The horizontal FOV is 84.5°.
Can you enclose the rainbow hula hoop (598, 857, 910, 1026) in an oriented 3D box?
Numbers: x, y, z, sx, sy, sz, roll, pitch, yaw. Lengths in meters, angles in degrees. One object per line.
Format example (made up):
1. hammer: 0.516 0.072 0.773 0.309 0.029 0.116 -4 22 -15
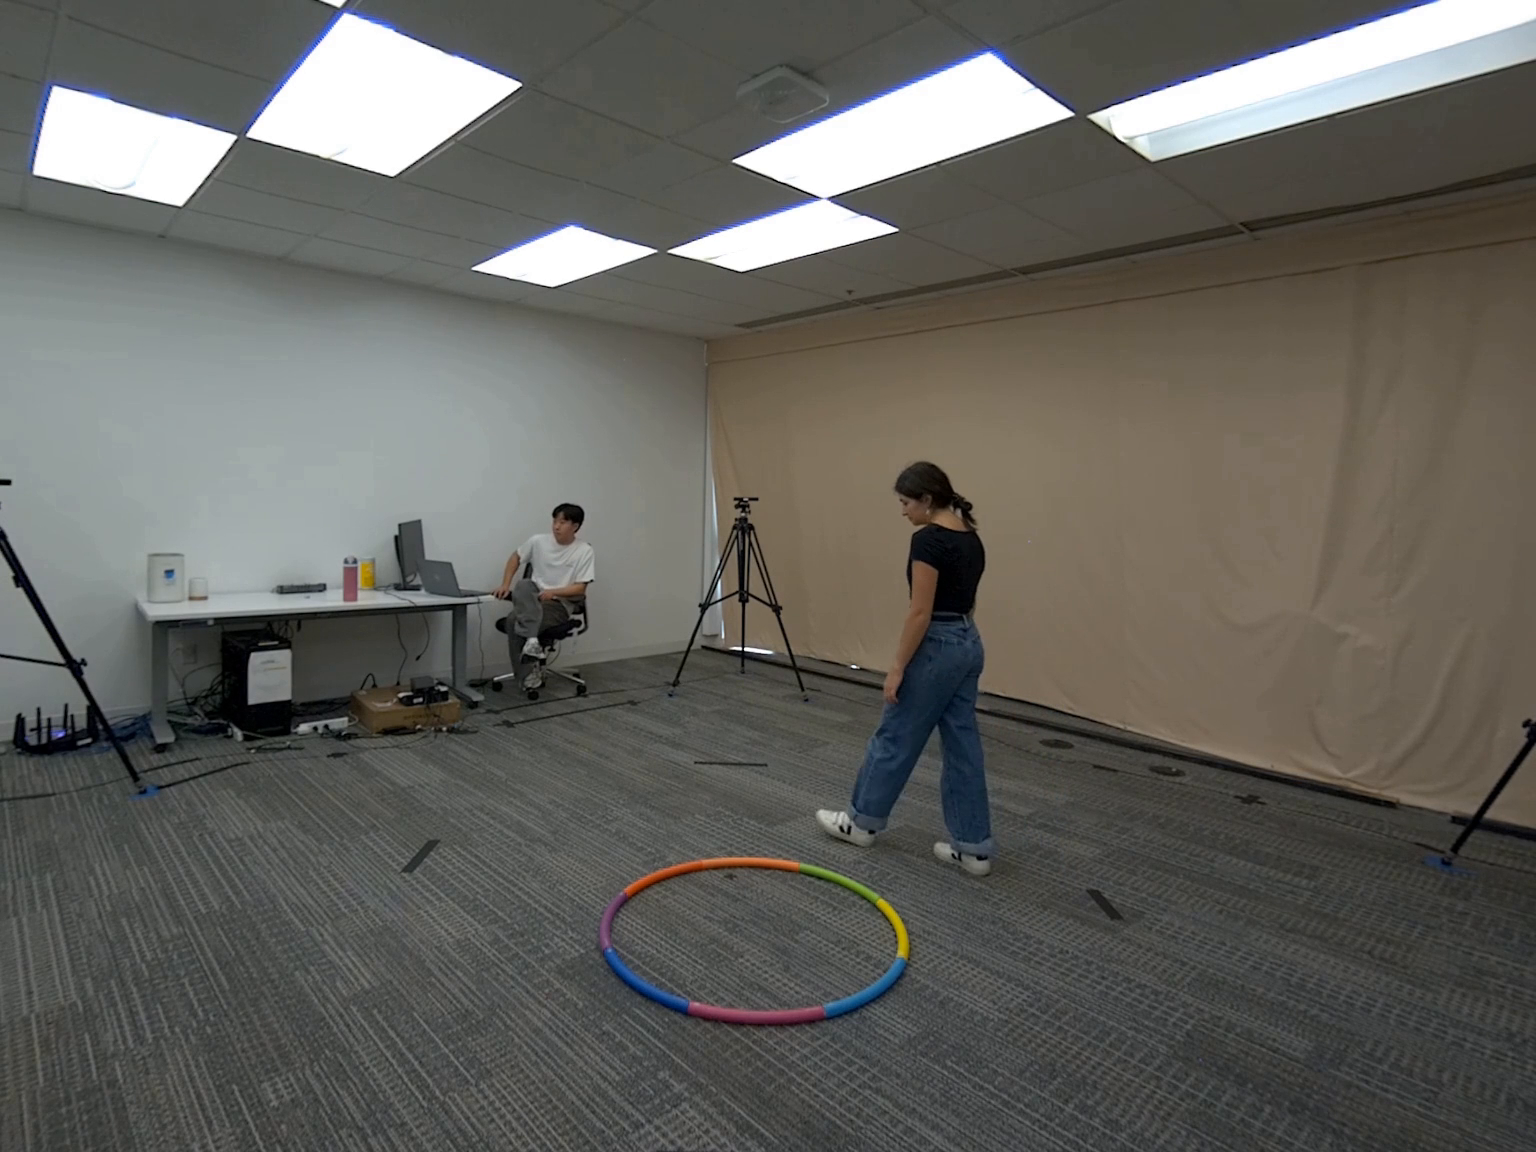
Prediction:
1. rainbow hula hoop: -0.056 1.118 2.709 0.978 0.035 0.982 1 5 -1
